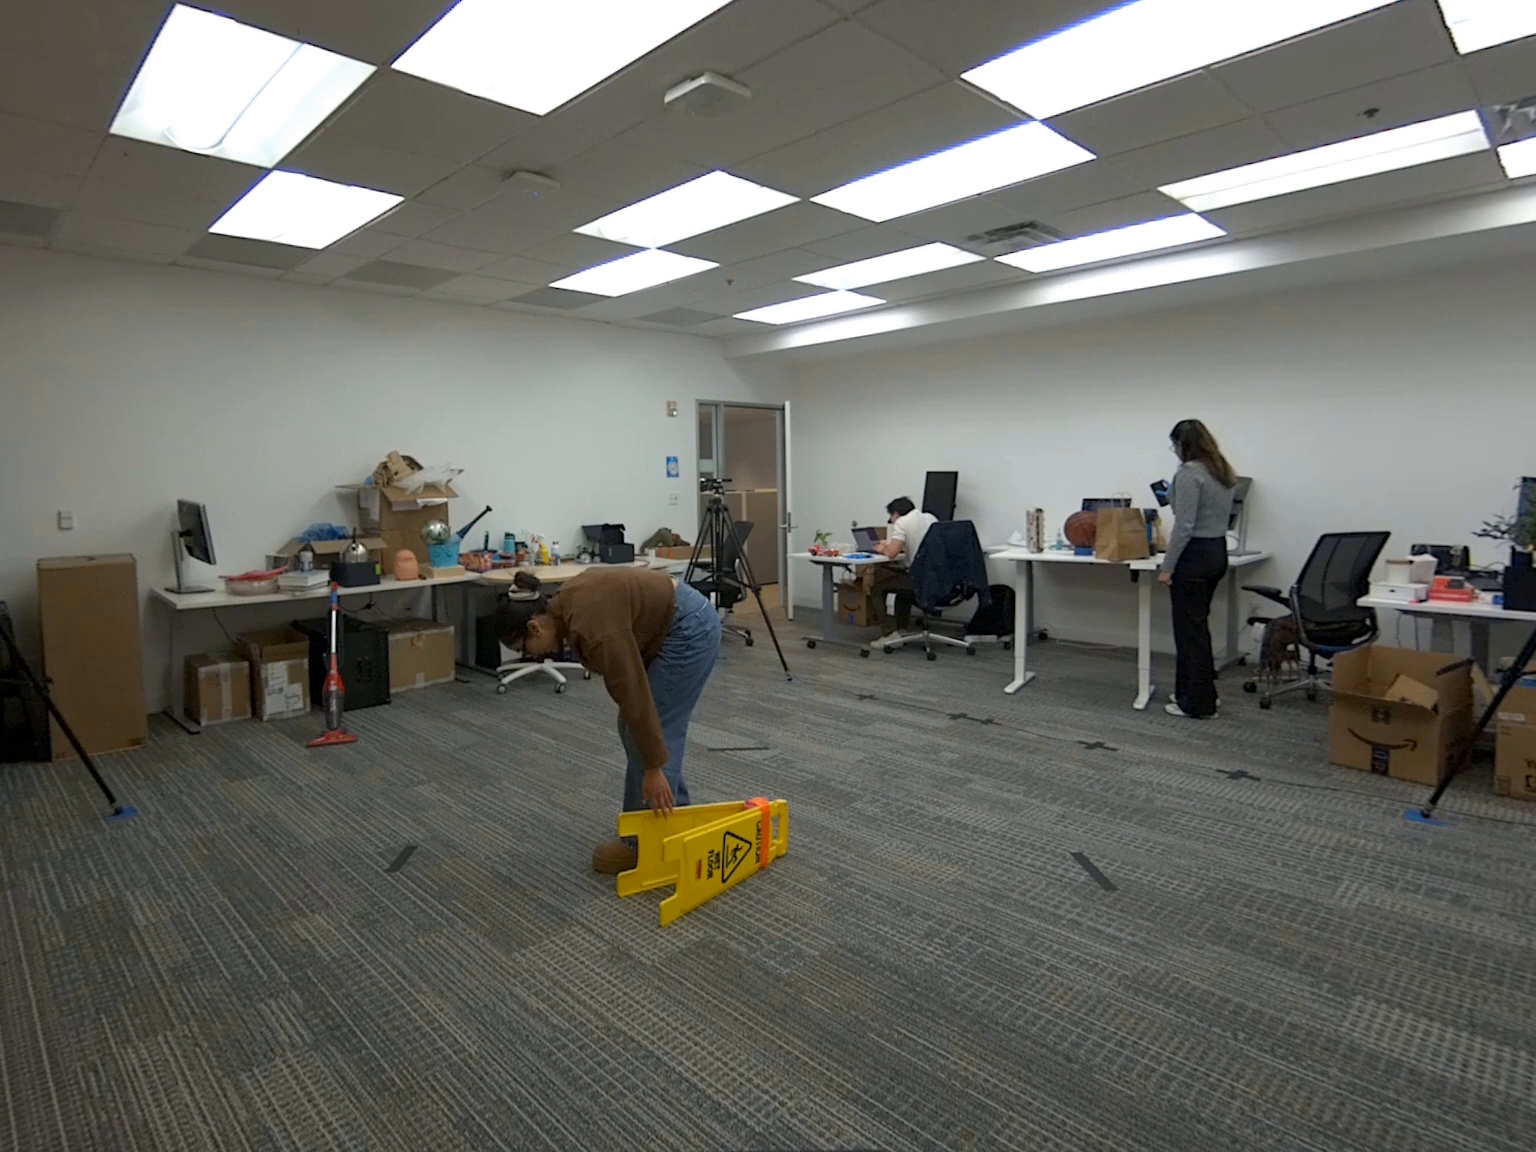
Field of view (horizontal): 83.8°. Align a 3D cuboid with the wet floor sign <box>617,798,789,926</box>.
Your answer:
[{"bbox_3d":[-0.180,0.932,2.973,0.628,0.281,0.299,-3,5,-40],"label":"wet floor sign"}]
